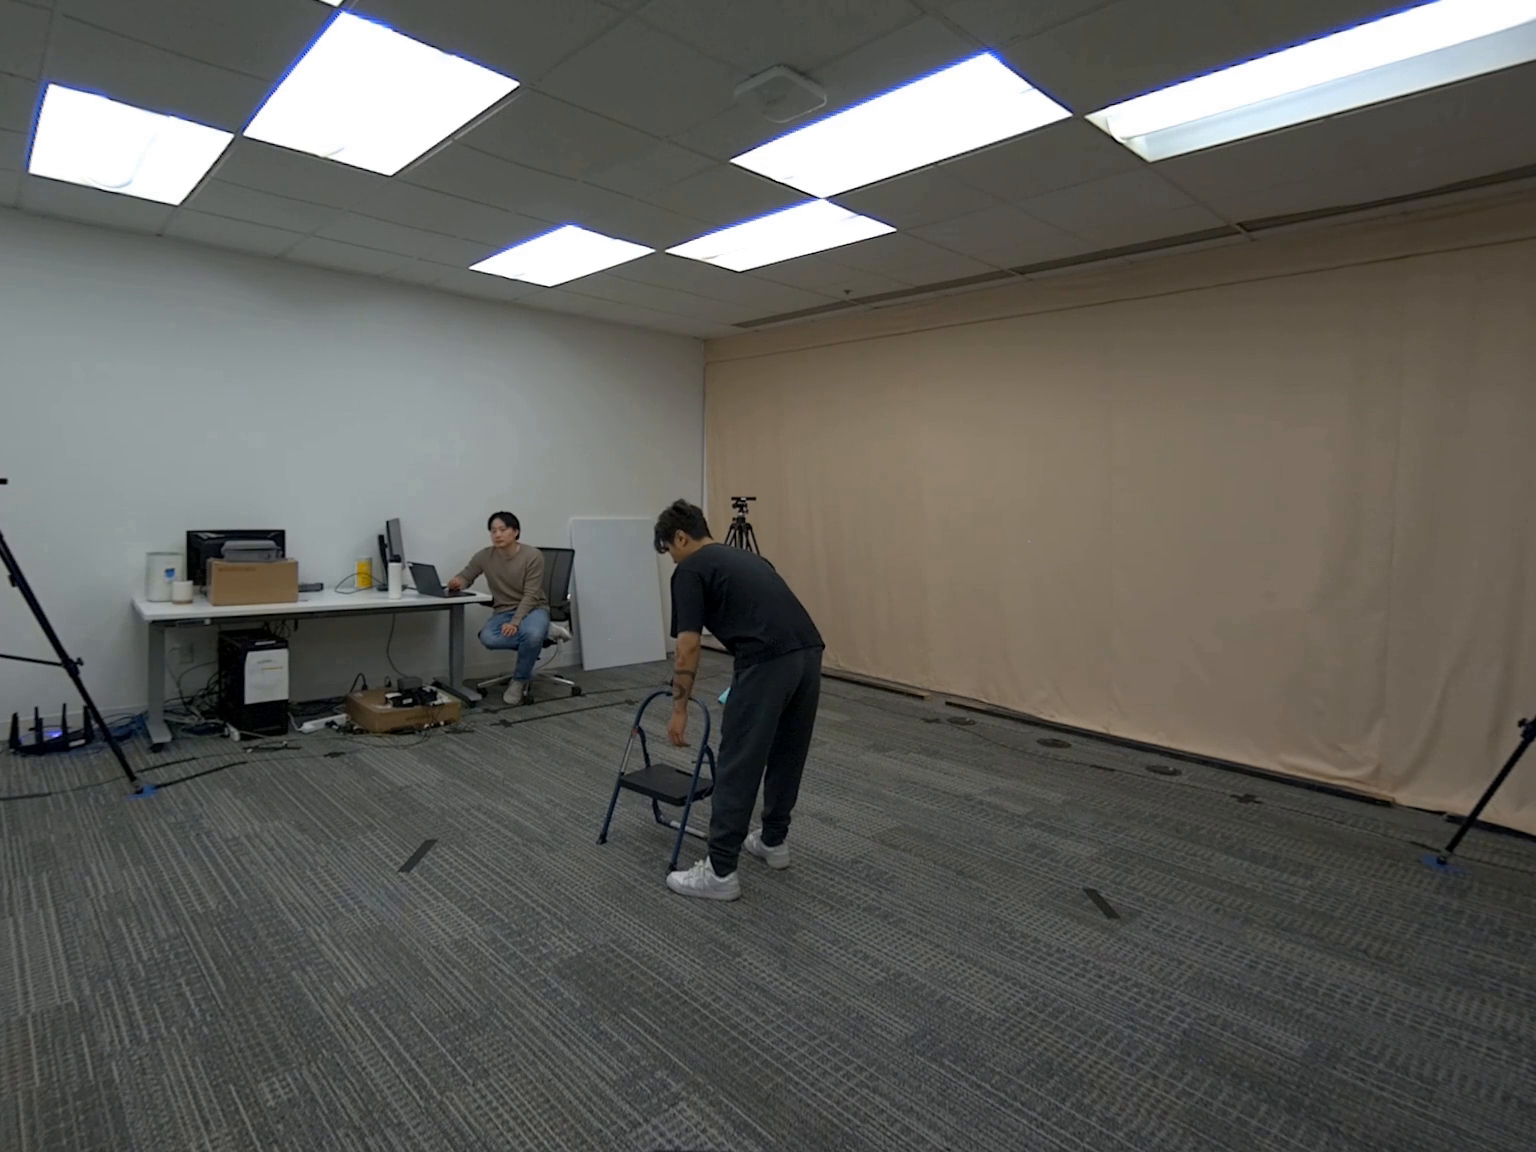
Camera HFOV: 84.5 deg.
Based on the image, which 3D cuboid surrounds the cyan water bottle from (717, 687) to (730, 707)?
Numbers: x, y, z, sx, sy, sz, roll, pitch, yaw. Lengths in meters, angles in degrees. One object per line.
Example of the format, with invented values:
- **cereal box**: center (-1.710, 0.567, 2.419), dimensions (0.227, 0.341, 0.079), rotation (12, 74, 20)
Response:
- **cyan water bottle**: center (-0.100, 0.458, 3.529), dimensions (0.283, 0.090, 0.094), rotation (-45, 28, -25)
